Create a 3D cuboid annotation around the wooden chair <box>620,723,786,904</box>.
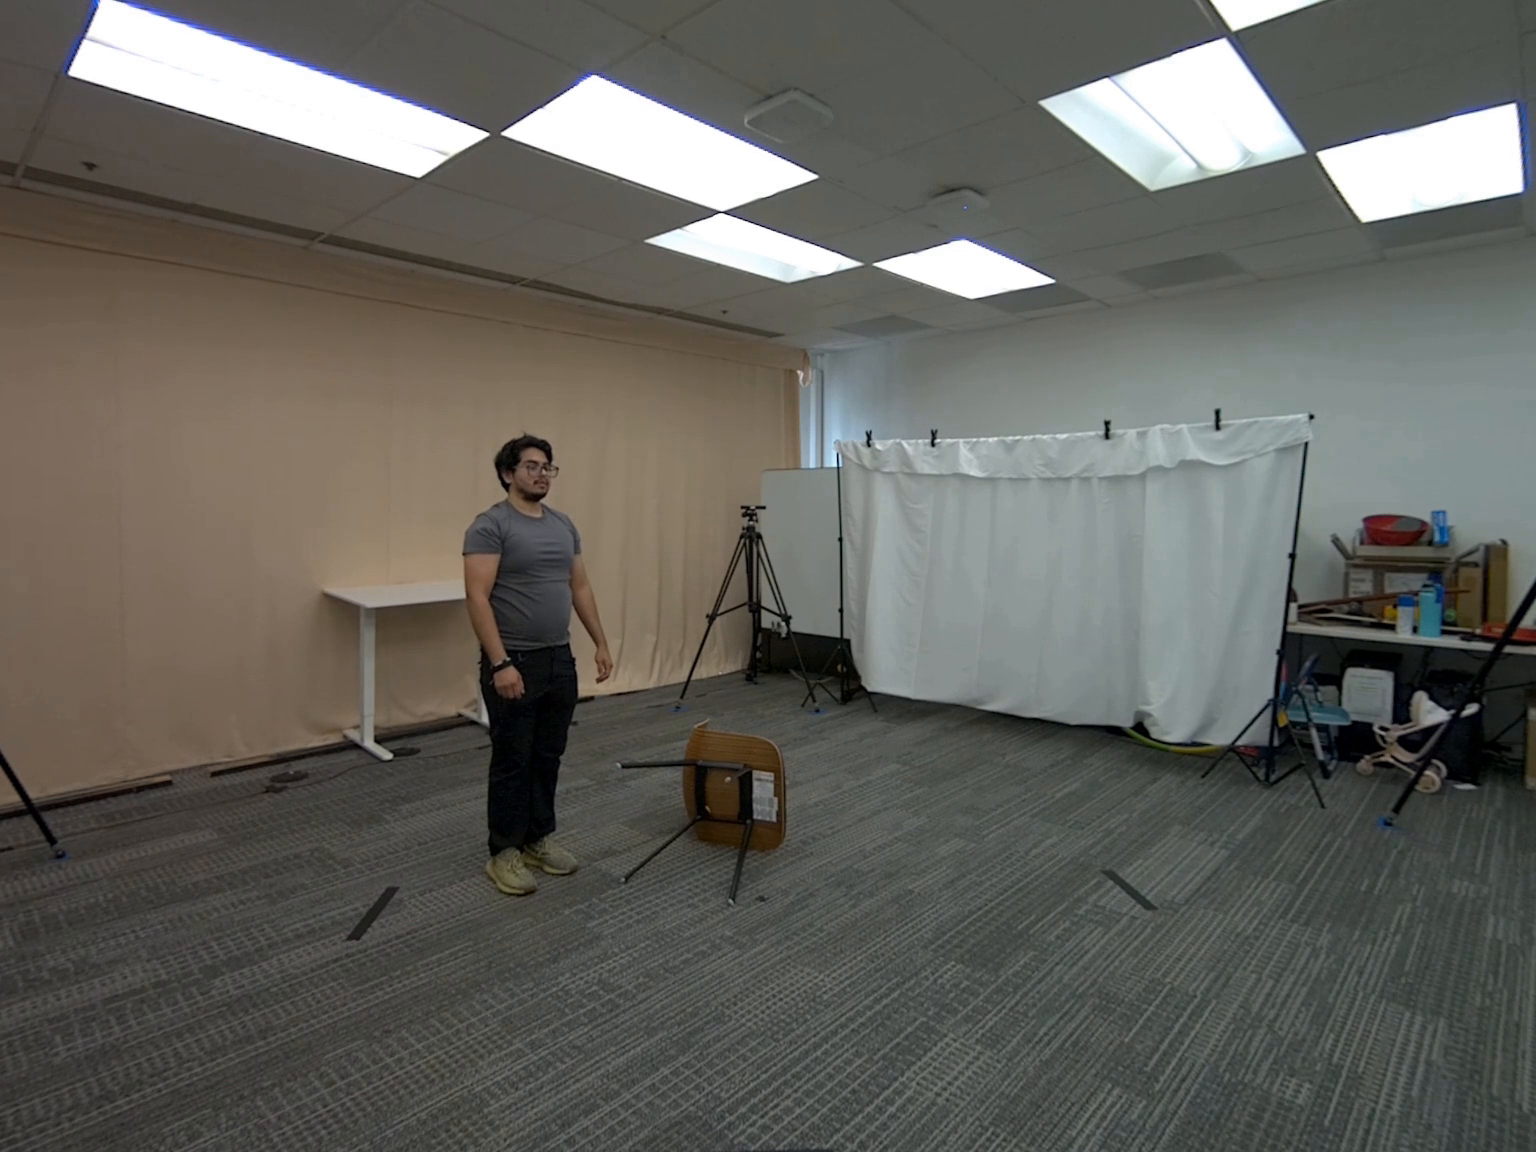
[{"bbox_3d":[-0.181,0.875,3.397,0.533,0.477,0.863,-1,4,17],"label":"wooden chair"}]
